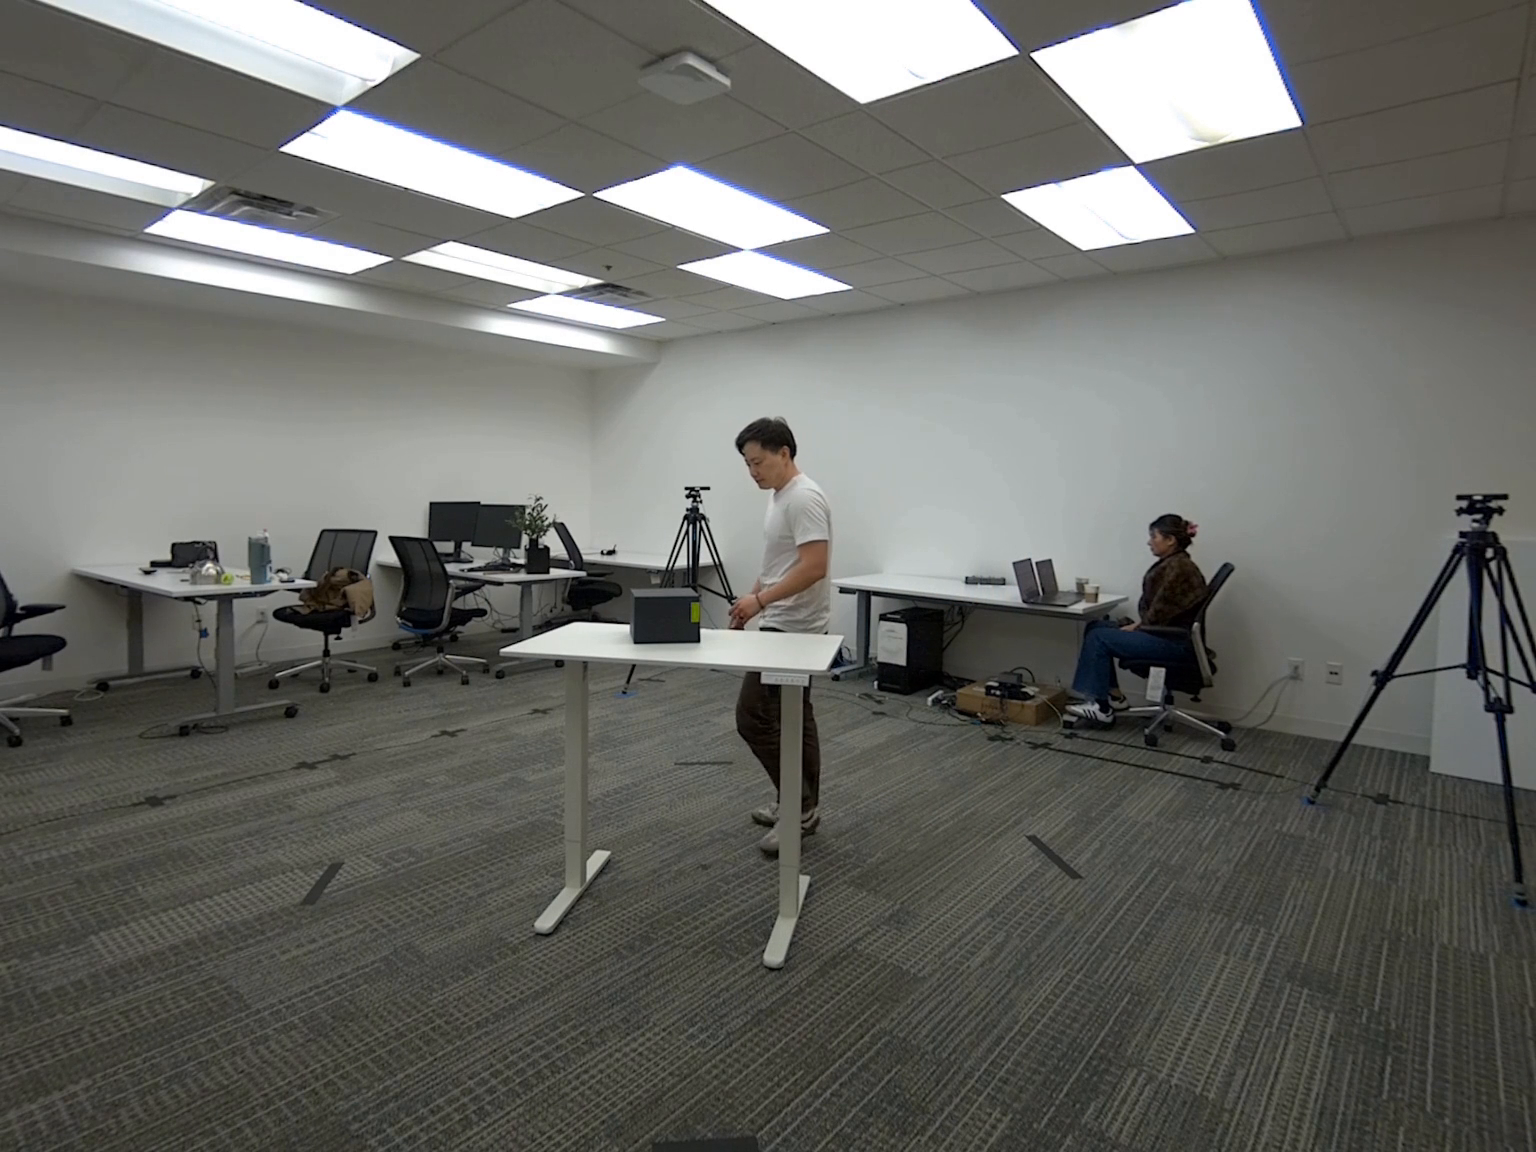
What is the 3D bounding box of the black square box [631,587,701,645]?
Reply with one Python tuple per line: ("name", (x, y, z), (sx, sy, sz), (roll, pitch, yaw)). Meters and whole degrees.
("black square box", (-0.357, 0.126, 2.869), (0.215, 0.155, 0.230), (1, 4, -8))
